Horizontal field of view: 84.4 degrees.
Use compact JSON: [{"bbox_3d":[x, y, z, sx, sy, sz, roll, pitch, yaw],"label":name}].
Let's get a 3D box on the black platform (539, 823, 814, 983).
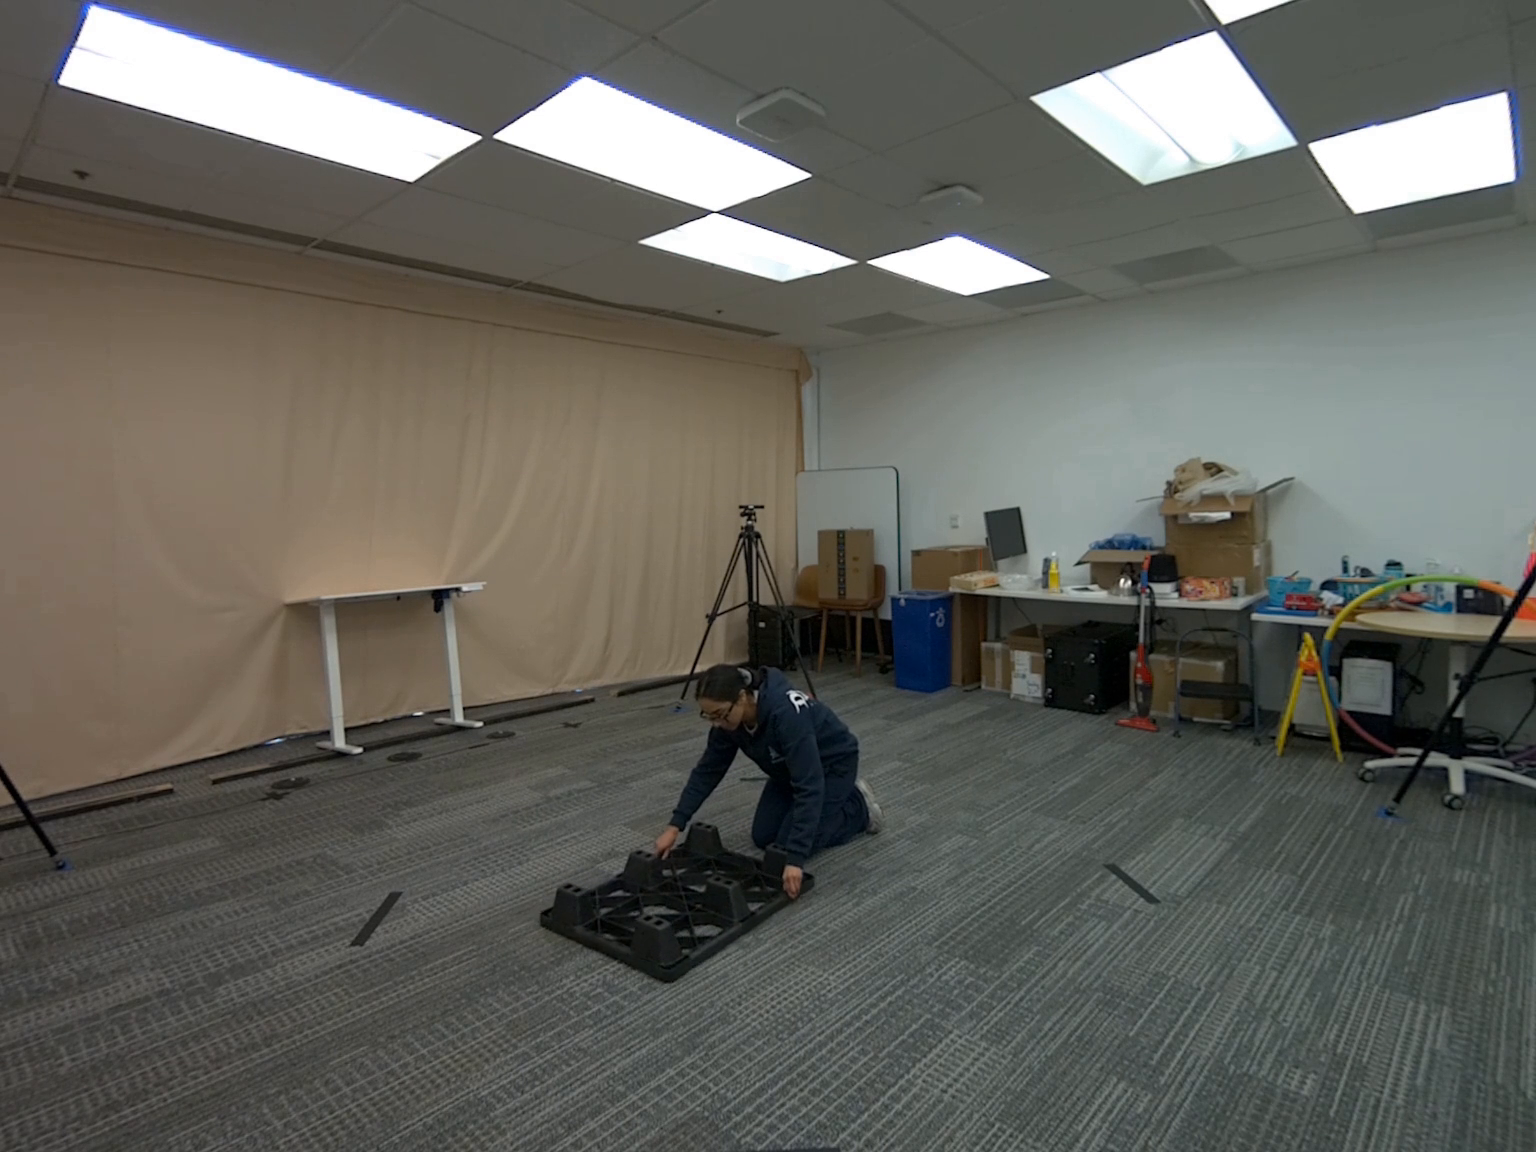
[{"bbox_3d":[-0.299,1.084,2.948,0.625,0.143,0.782,3,6,37],"label":"black platform"}]
